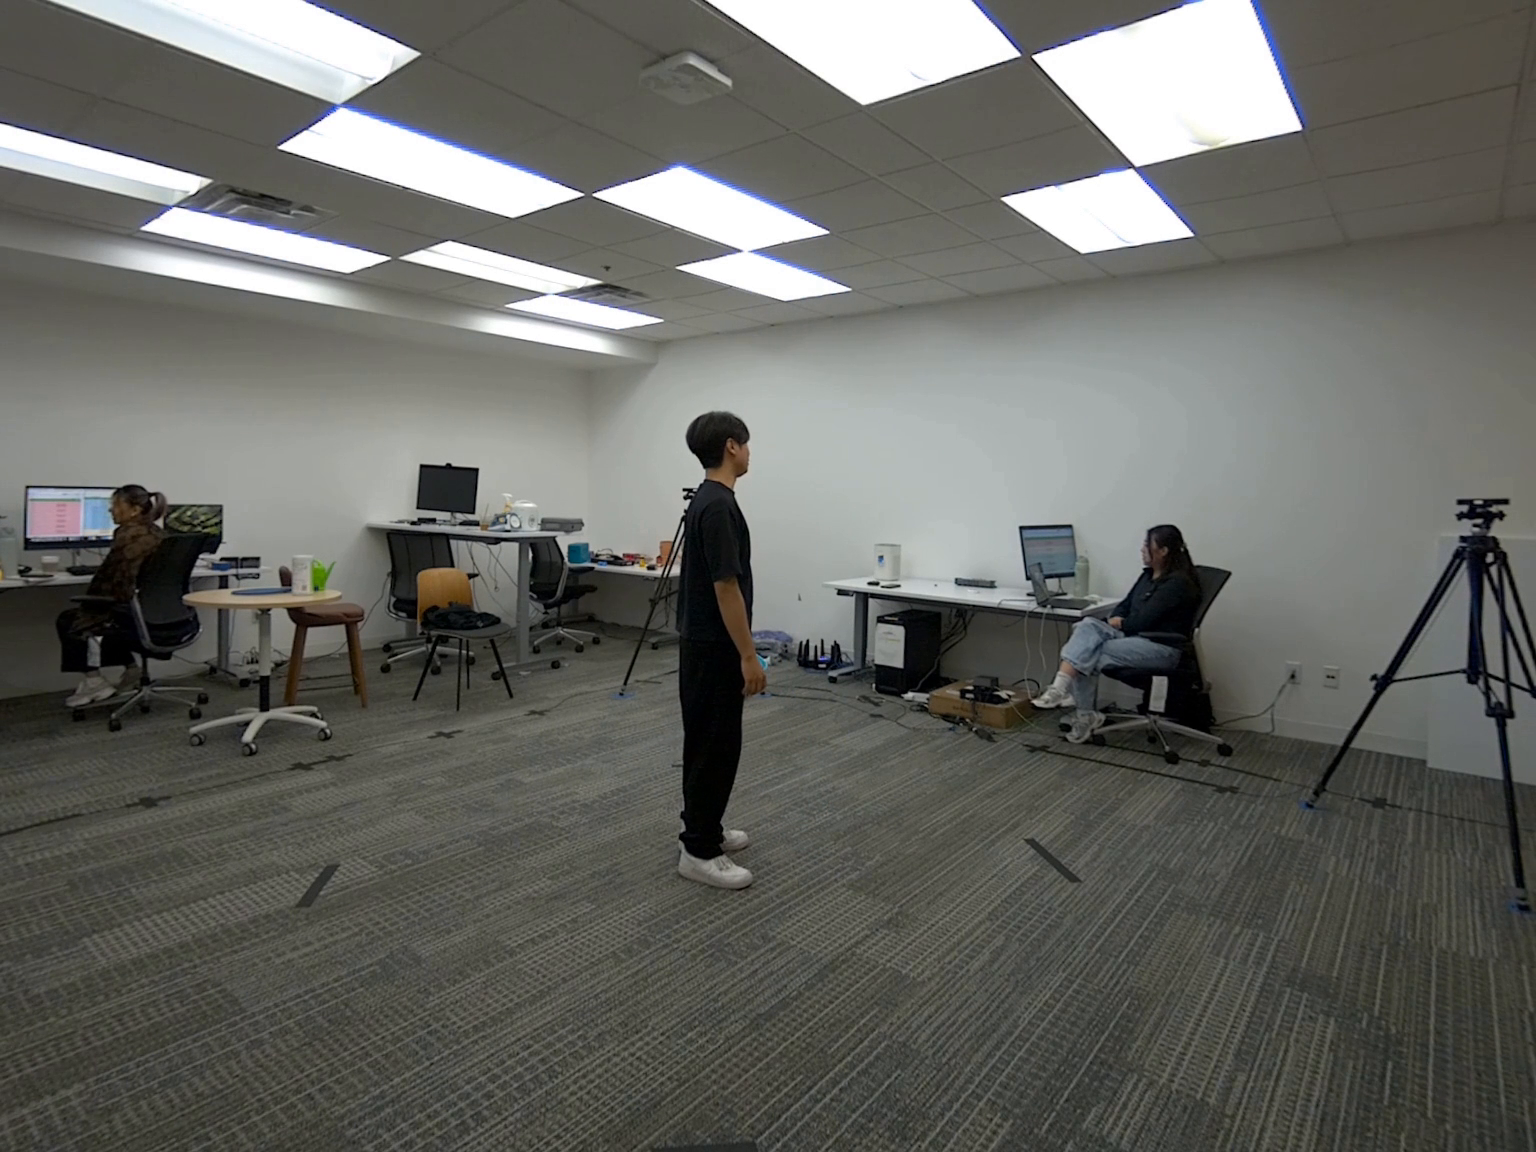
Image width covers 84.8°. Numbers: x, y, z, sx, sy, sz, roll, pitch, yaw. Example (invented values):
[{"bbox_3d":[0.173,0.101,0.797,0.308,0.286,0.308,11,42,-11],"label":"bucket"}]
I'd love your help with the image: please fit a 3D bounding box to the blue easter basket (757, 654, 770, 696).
[{"bbox_3d":[-0.128,0.402,3.502,0.242,0.155,0.247,17,13,-6],"label":"blue easter basket"}]
